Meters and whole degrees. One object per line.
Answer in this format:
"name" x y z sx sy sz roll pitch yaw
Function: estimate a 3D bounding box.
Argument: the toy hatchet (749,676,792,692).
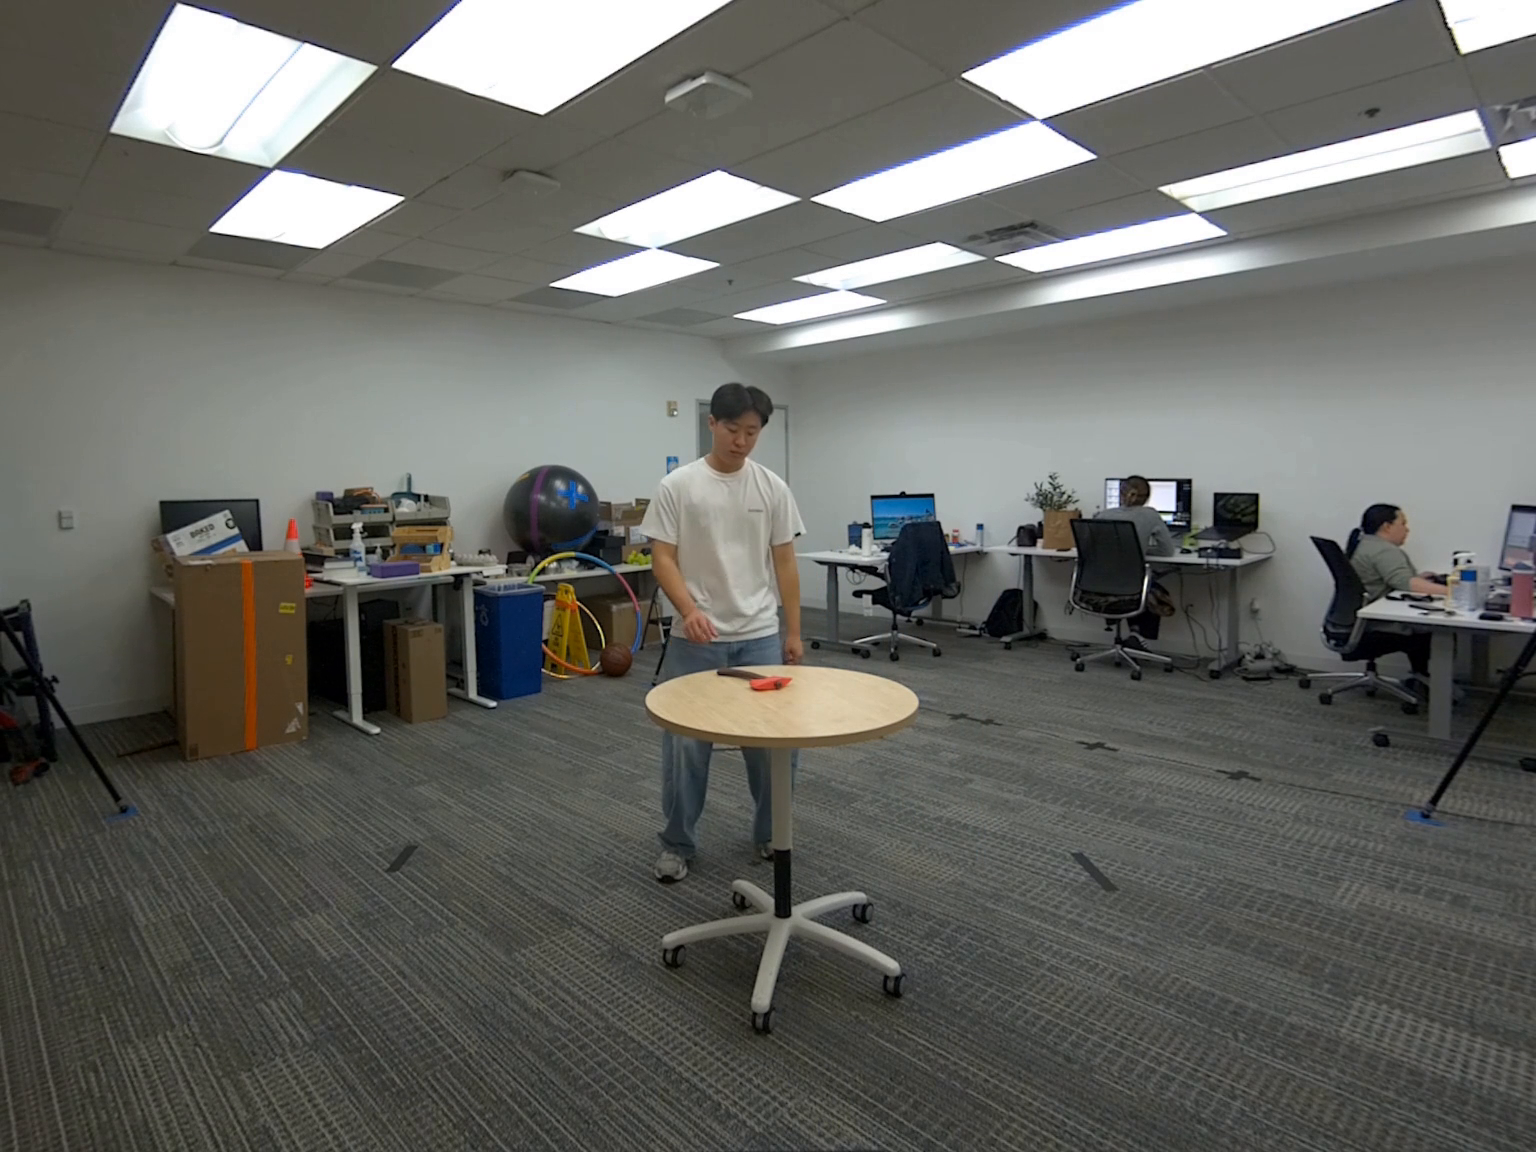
"toy hatchet" -0.064 0.315 2.578 0.278 0.029 0.128 2 11 38
